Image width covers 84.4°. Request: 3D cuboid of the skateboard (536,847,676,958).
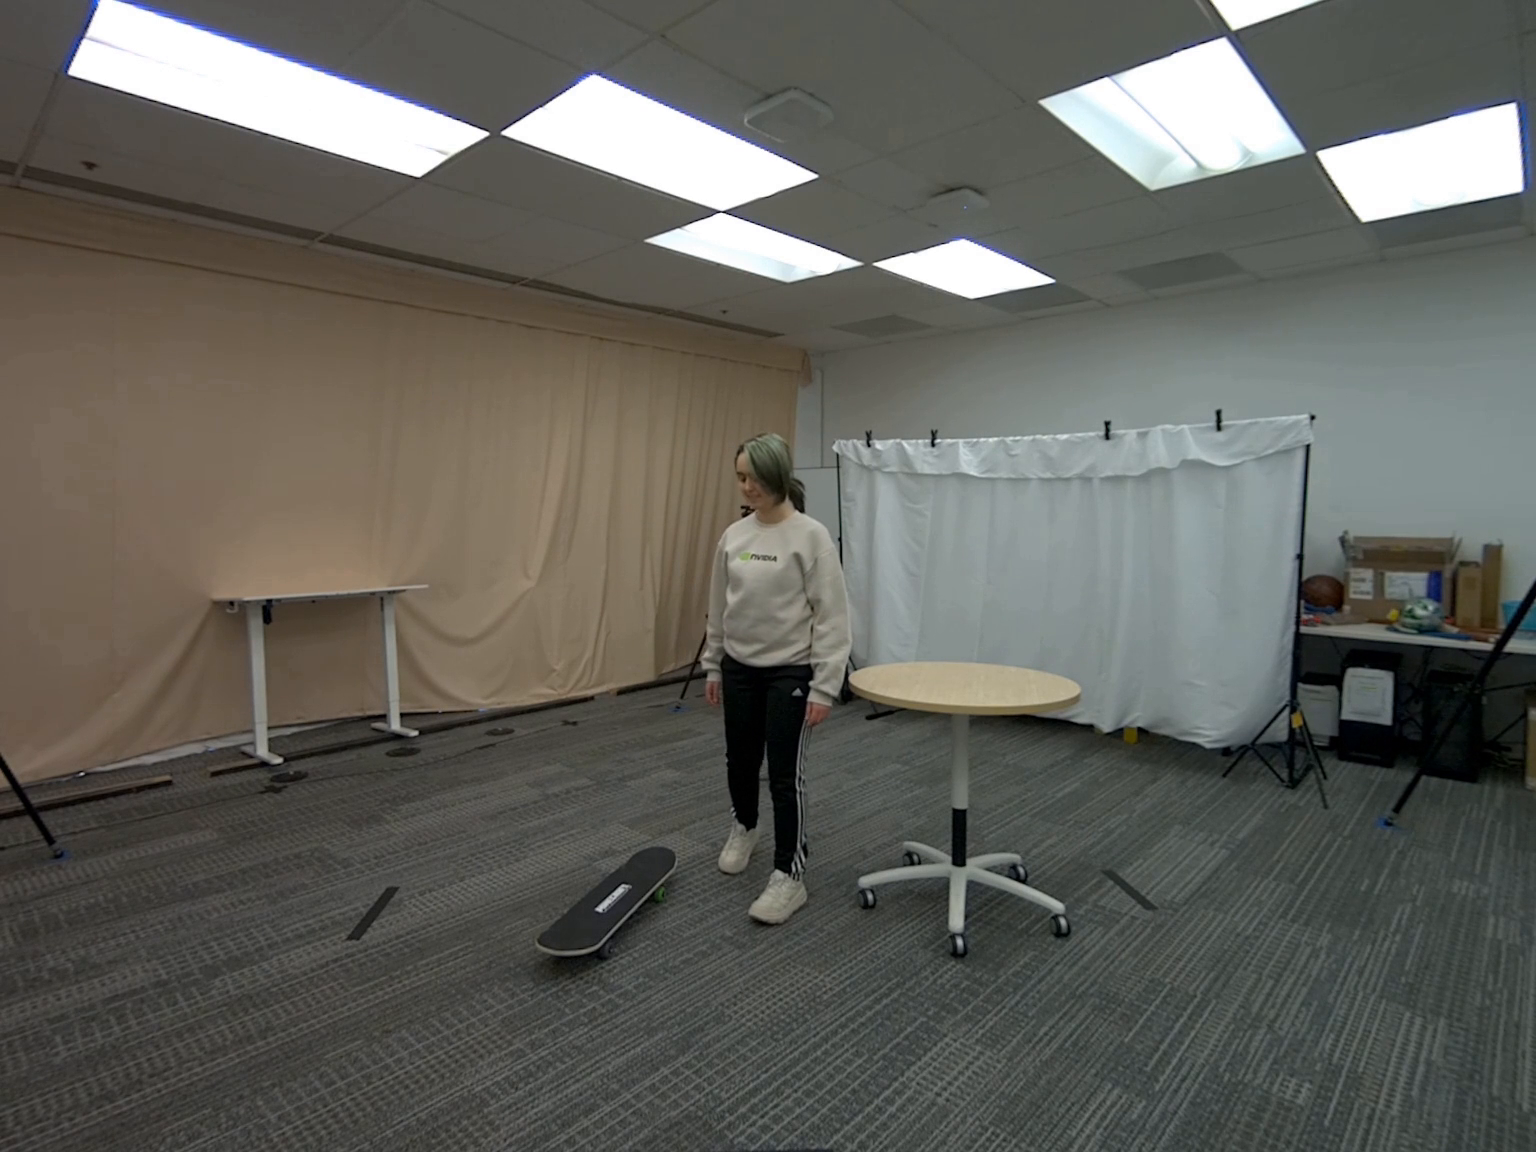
[{"bbox_3d":[-0.517,1.105,2.801,0.197,0.110,0.771,1,5,18],"label":"skateboard"}]
